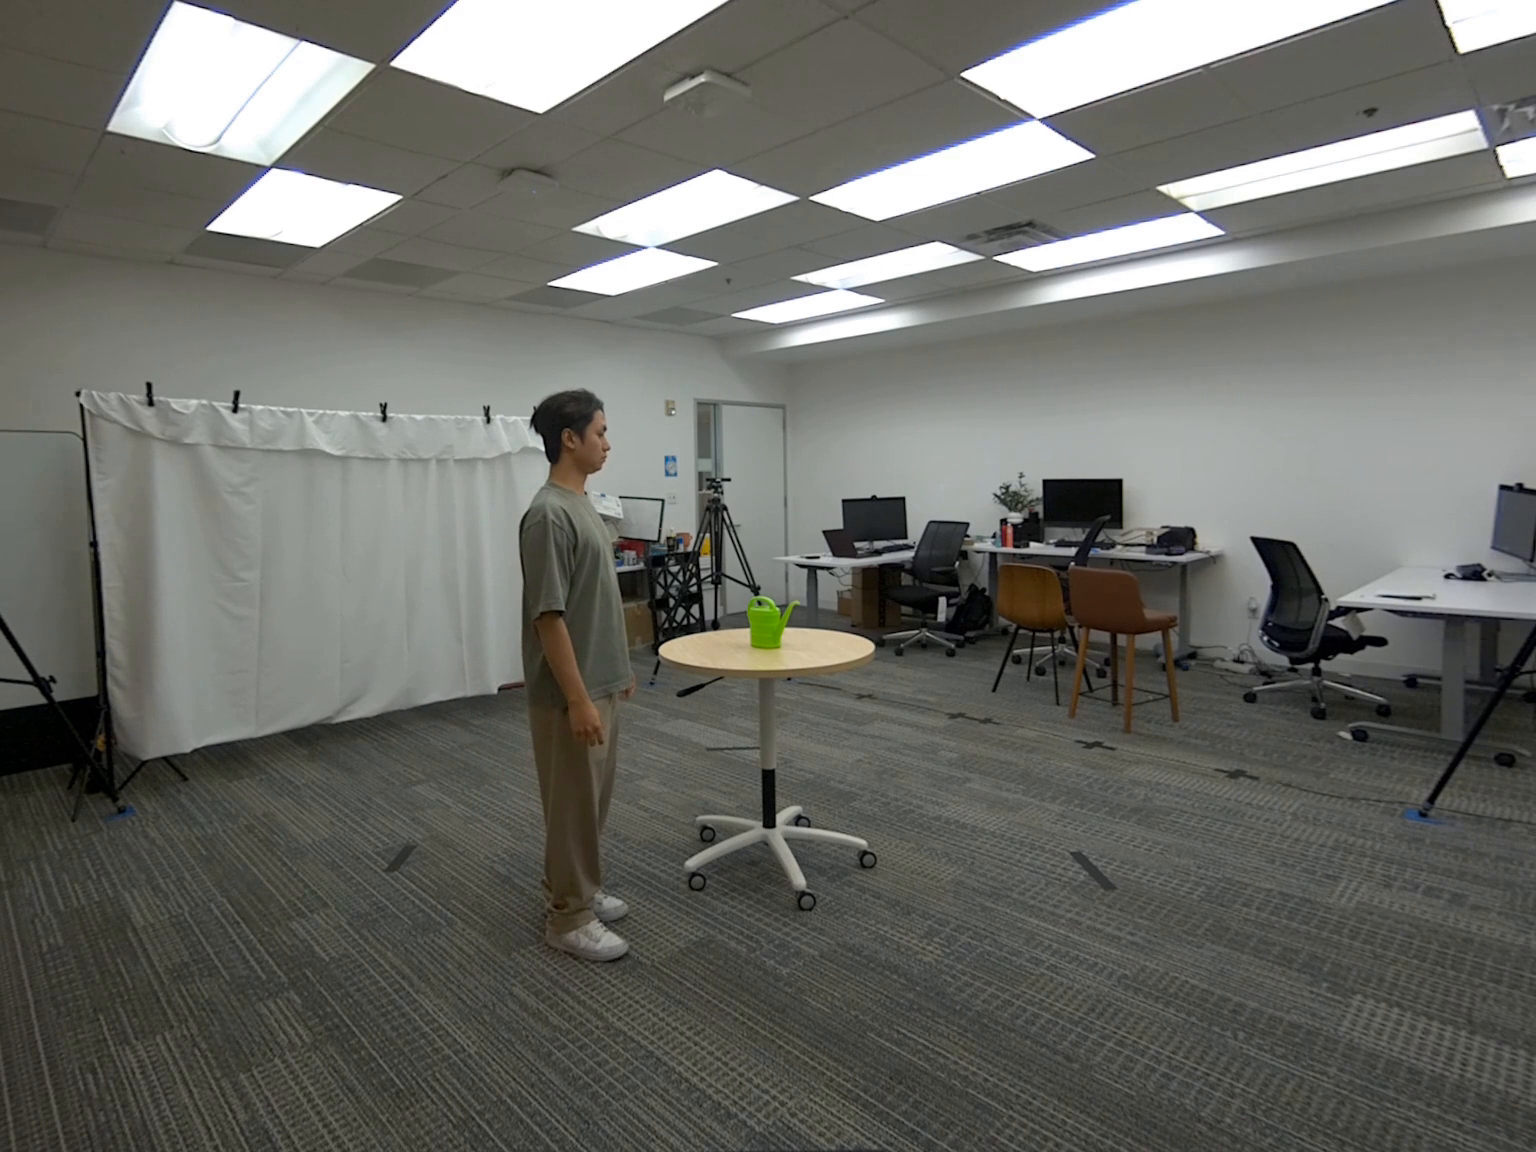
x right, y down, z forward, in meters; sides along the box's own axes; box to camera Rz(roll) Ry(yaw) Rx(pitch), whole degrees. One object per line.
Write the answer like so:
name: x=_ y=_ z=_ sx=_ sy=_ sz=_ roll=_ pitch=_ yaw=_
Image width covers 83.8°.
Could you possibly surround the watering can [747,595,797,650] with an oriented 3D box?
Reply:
watering can: x=0.010 y=0.167 z=3.004 sx=0.096 sy=0.176 sz=0.284 roll=-4 pitch=5 yaw=-23
